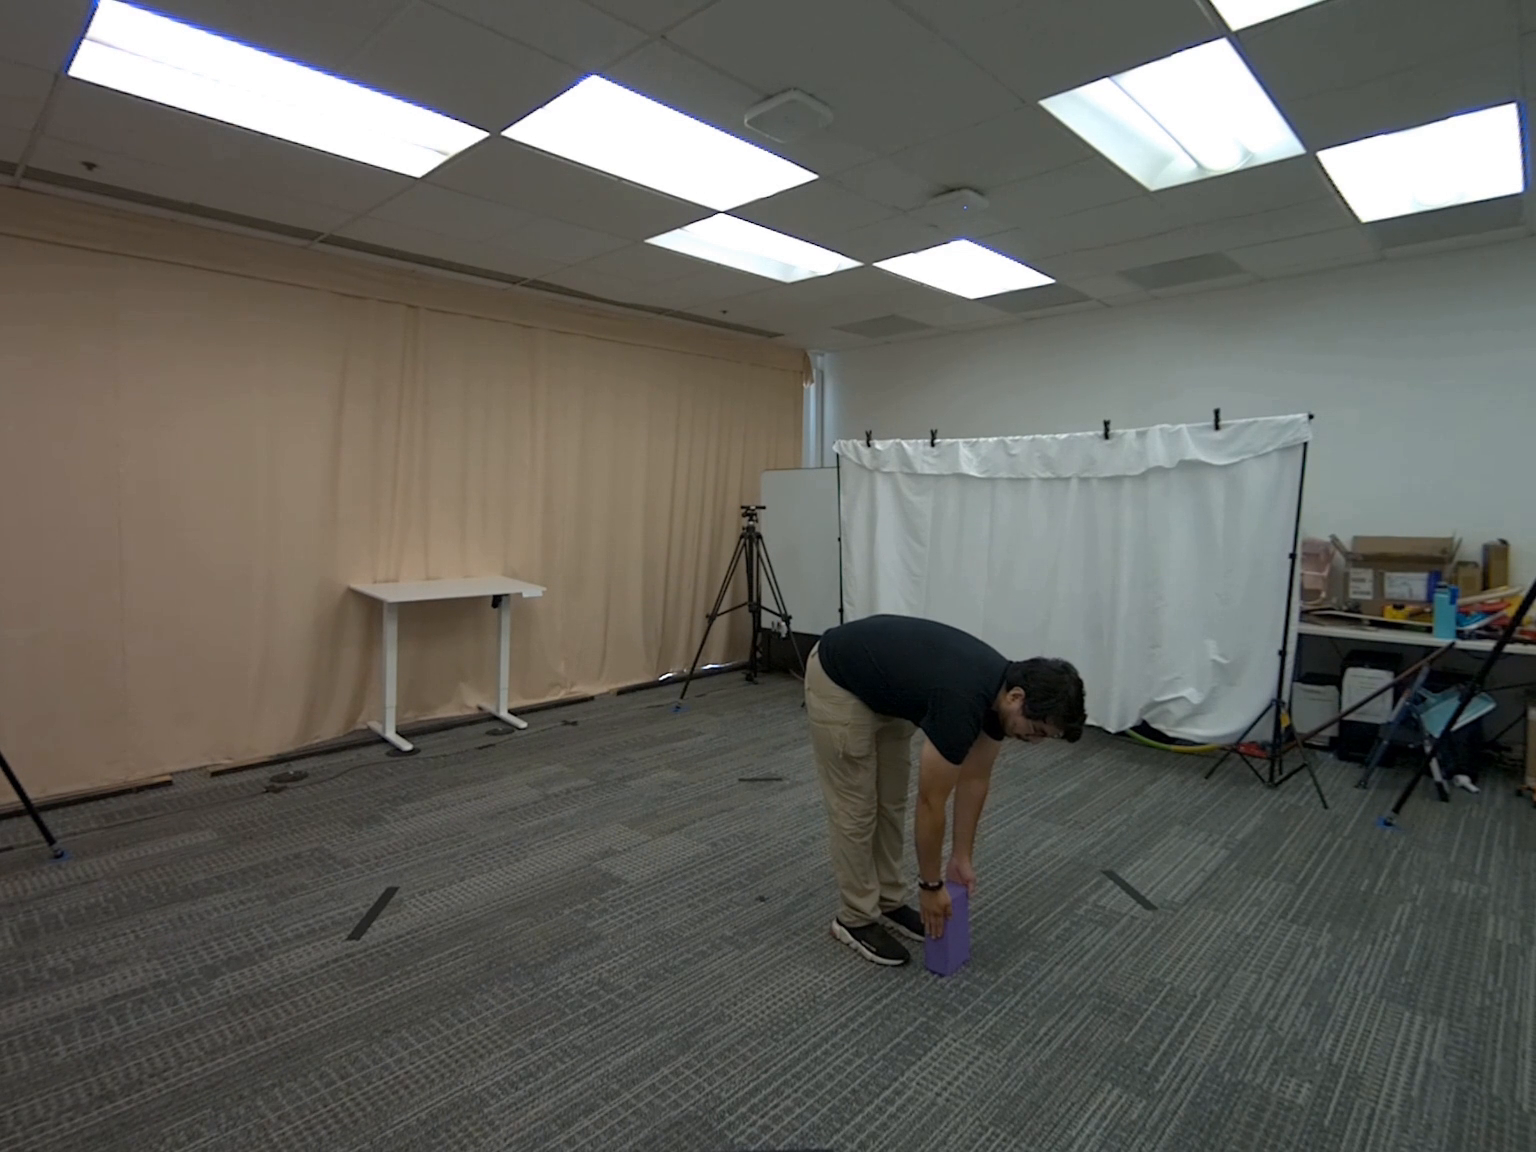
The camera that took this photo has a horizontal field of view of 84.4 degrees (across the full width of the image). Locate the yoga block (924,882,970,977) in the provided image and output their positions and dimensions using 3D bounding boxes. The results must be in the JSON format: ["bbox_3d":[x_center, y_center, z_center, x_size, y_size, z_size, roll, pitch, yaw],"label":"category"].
[{"bbox_3d":[0.551,1.067,2.545,0.079,0.229,0.144,4,5,44],"label":"yoga block"}]
